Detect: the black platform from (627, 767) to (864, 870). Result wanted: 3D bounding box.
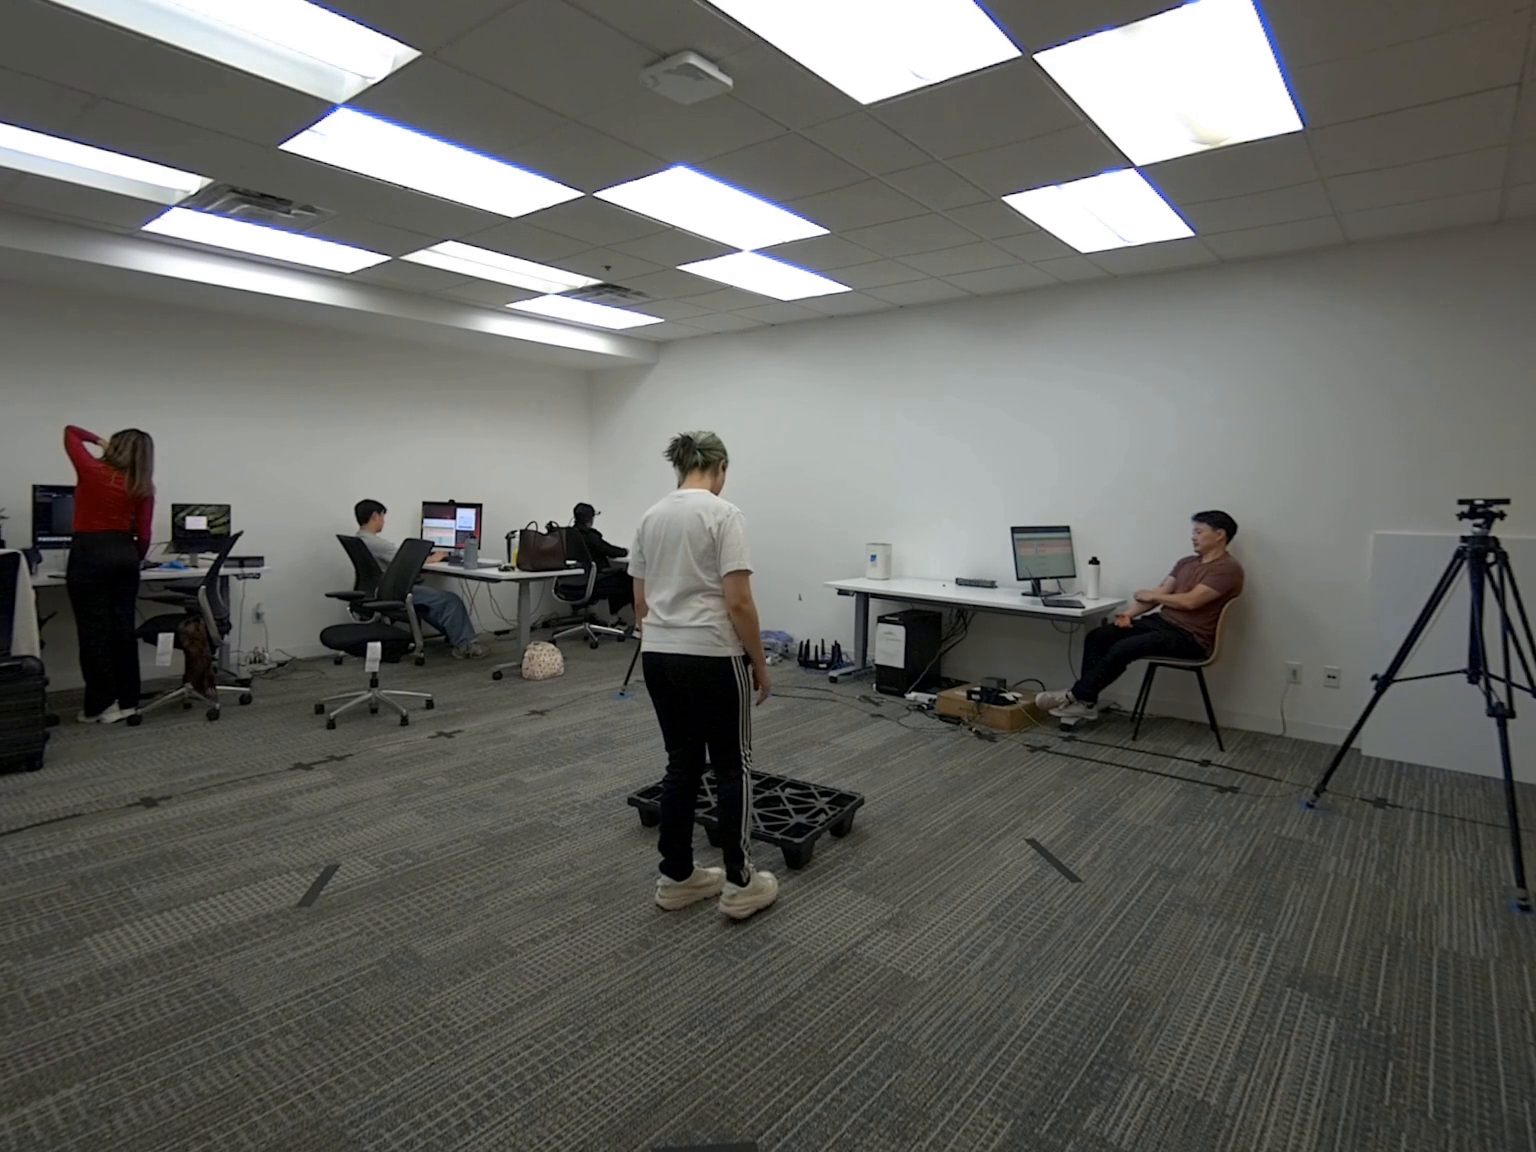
[{"bbox_3d":[-0.099,0.967,3.507,0.830,0.143,0.589,5,6,31],"label":"black platform"}]
